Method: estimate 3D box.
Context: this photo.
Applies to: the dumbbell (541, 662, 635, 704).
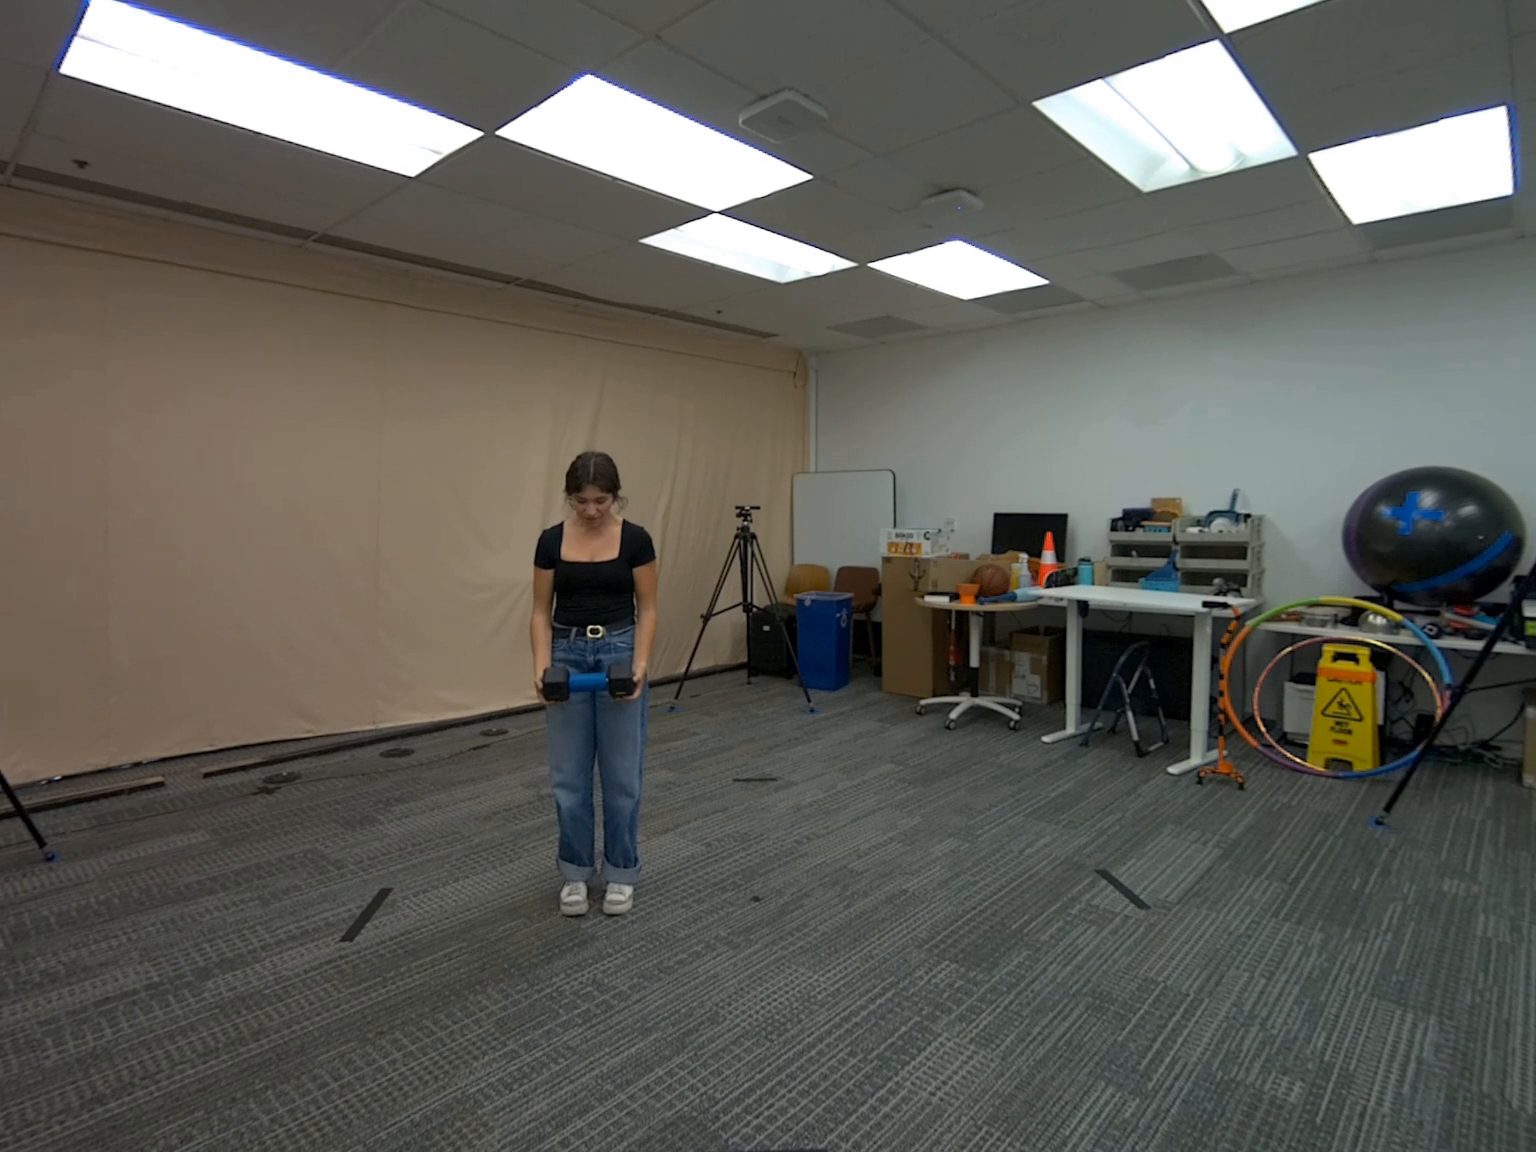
[{"bbox_3d":[-0.586,0.345,2.789,0.292,0.111,0.121,-2,-34,-4],"label":"dumbbell"}]
